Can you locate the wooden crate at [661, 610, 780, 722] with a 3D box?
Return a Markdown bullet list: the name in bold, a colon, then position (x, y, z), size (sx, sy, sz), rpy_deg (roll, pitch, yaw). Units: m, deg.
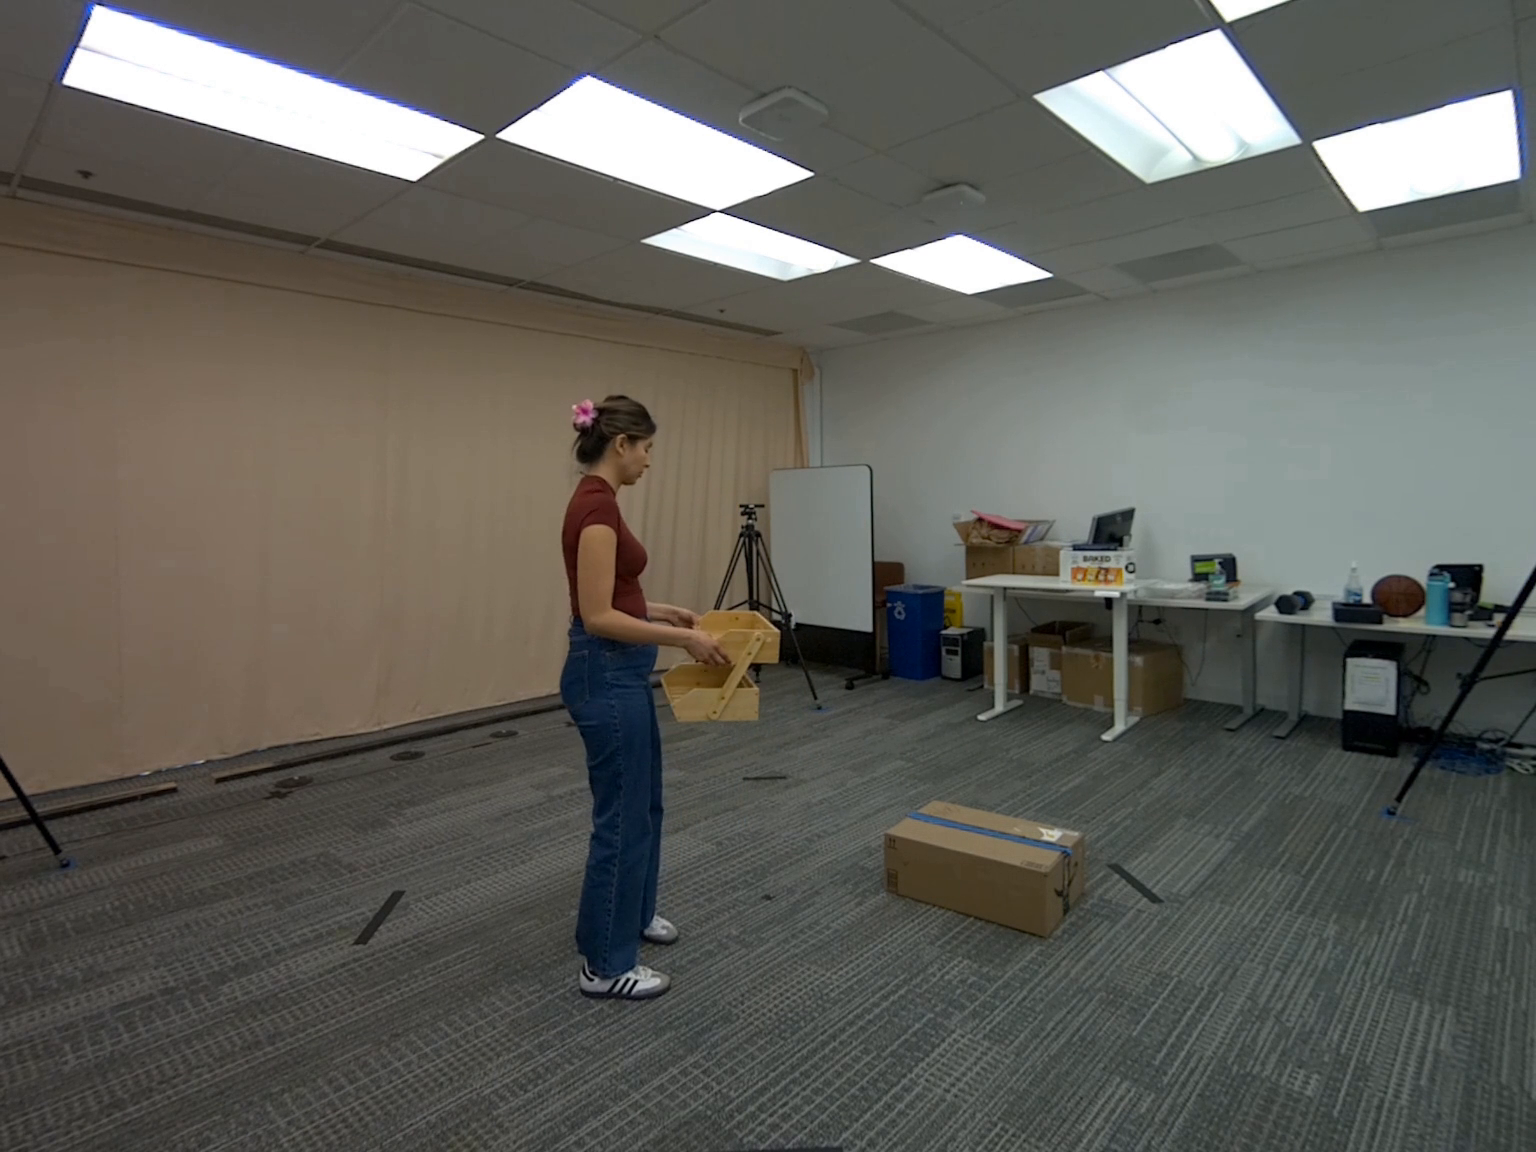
- **wooden crate**: position (-0.154, 0.254, 2.518), size (0.298, 0.272, 0.330), rpy_deg (2, 7, -12)
